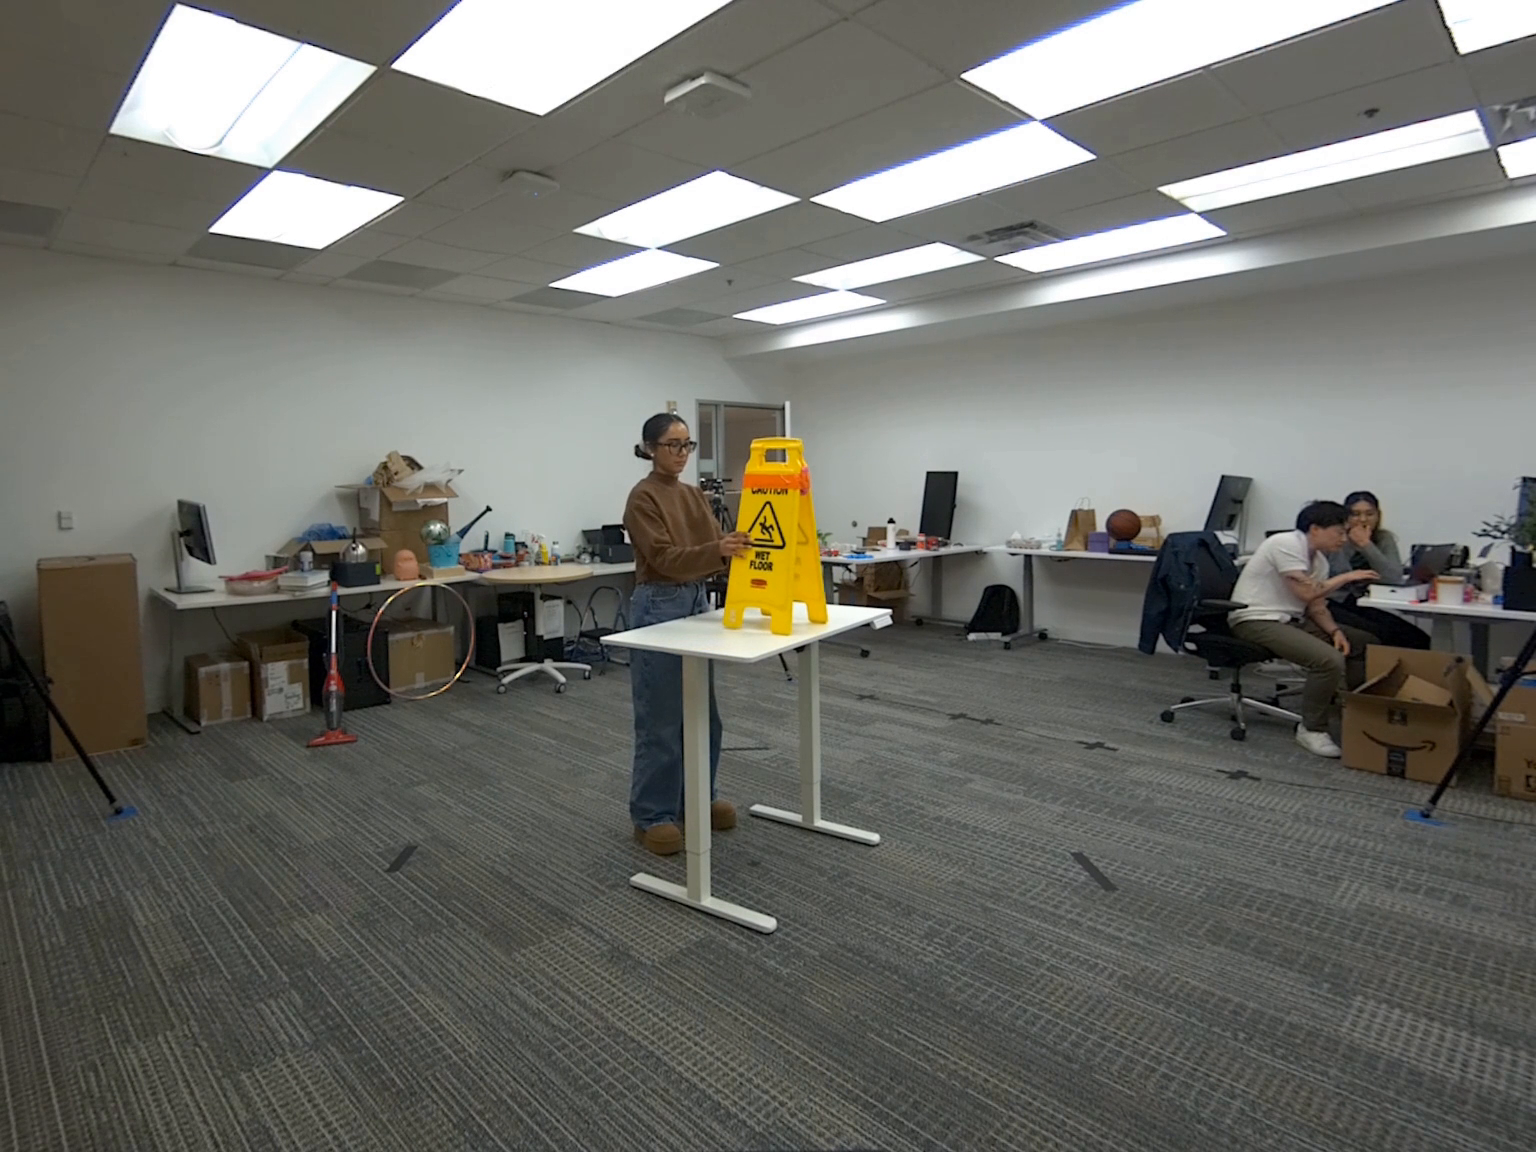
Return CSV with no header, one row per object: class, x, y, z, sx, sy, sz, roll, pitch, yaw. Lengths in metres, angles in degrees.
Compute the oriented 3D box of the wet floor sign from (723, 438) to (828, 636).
wet floor sign,0.032,-0.149,2.964,0.290,0.643,0.282,4,6,34
